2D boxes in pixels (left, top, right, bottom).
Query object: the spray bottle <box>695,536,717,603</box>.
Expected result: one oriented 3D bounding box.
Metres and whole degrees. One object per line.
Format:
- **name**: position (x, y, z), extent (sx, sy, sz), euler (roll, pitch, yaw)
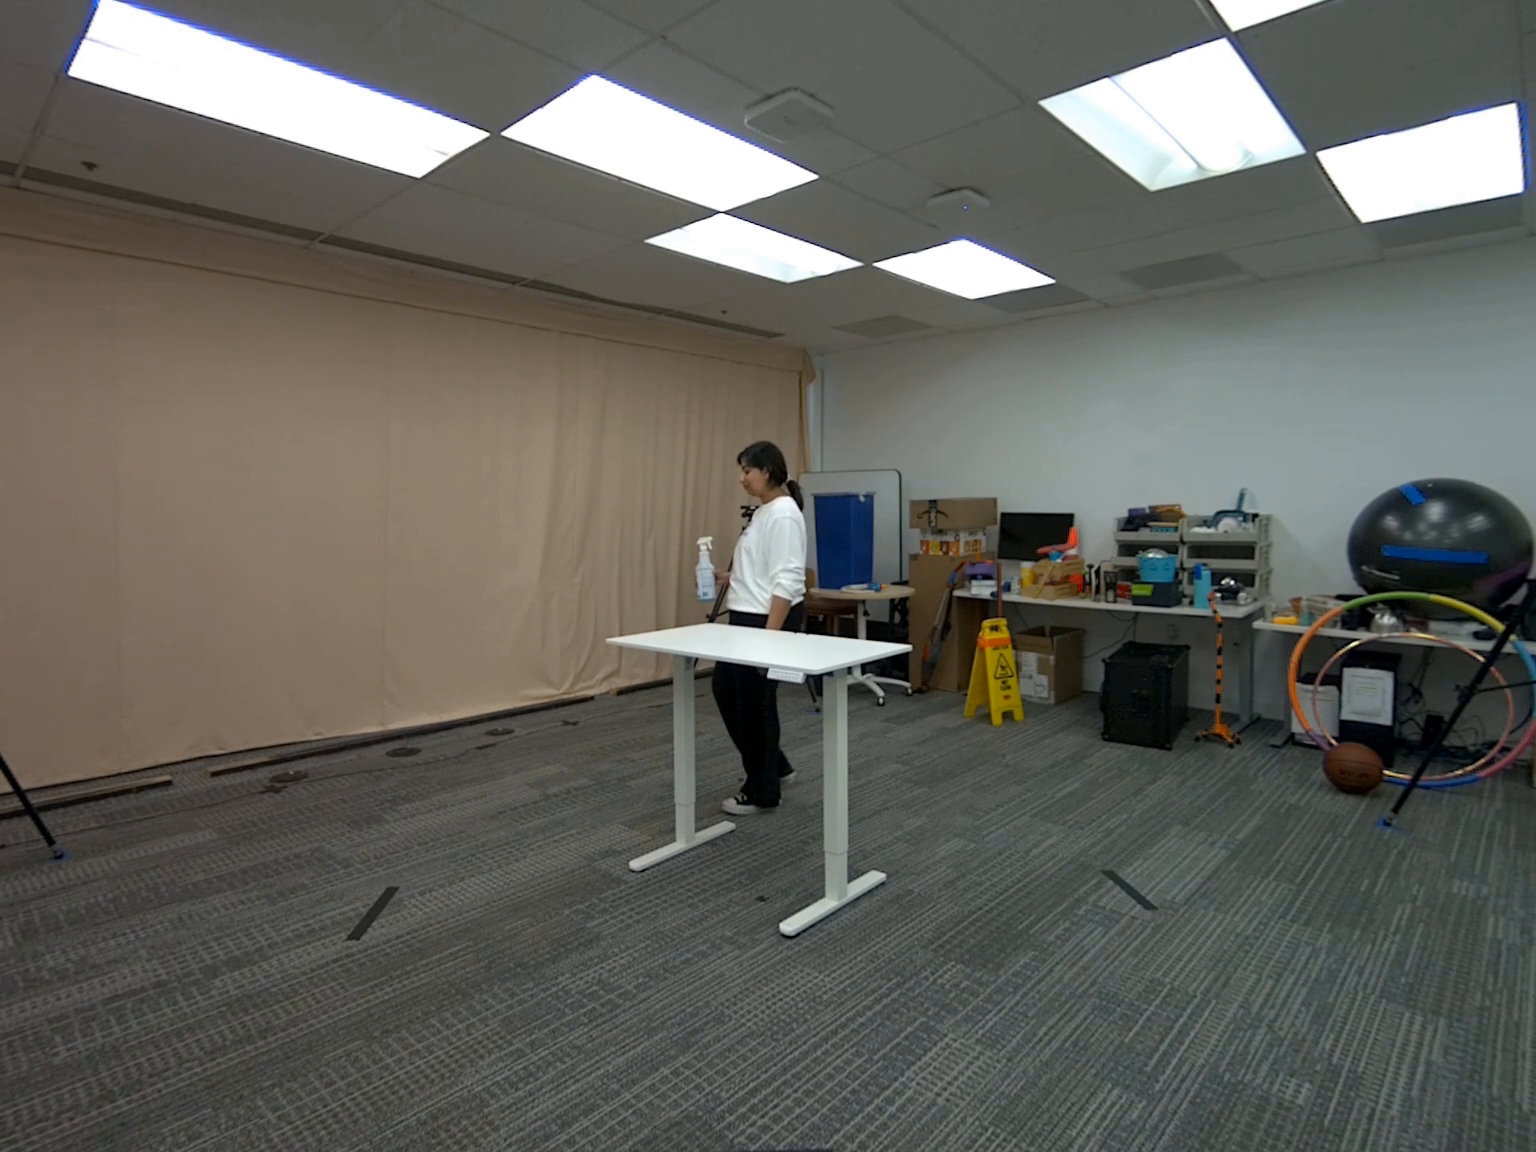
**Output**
- **spray bottle**: position (-0.281, -0.027, 3.900), extent (0.085, 0.297, 0.092), euler (-4, 2, -30)
